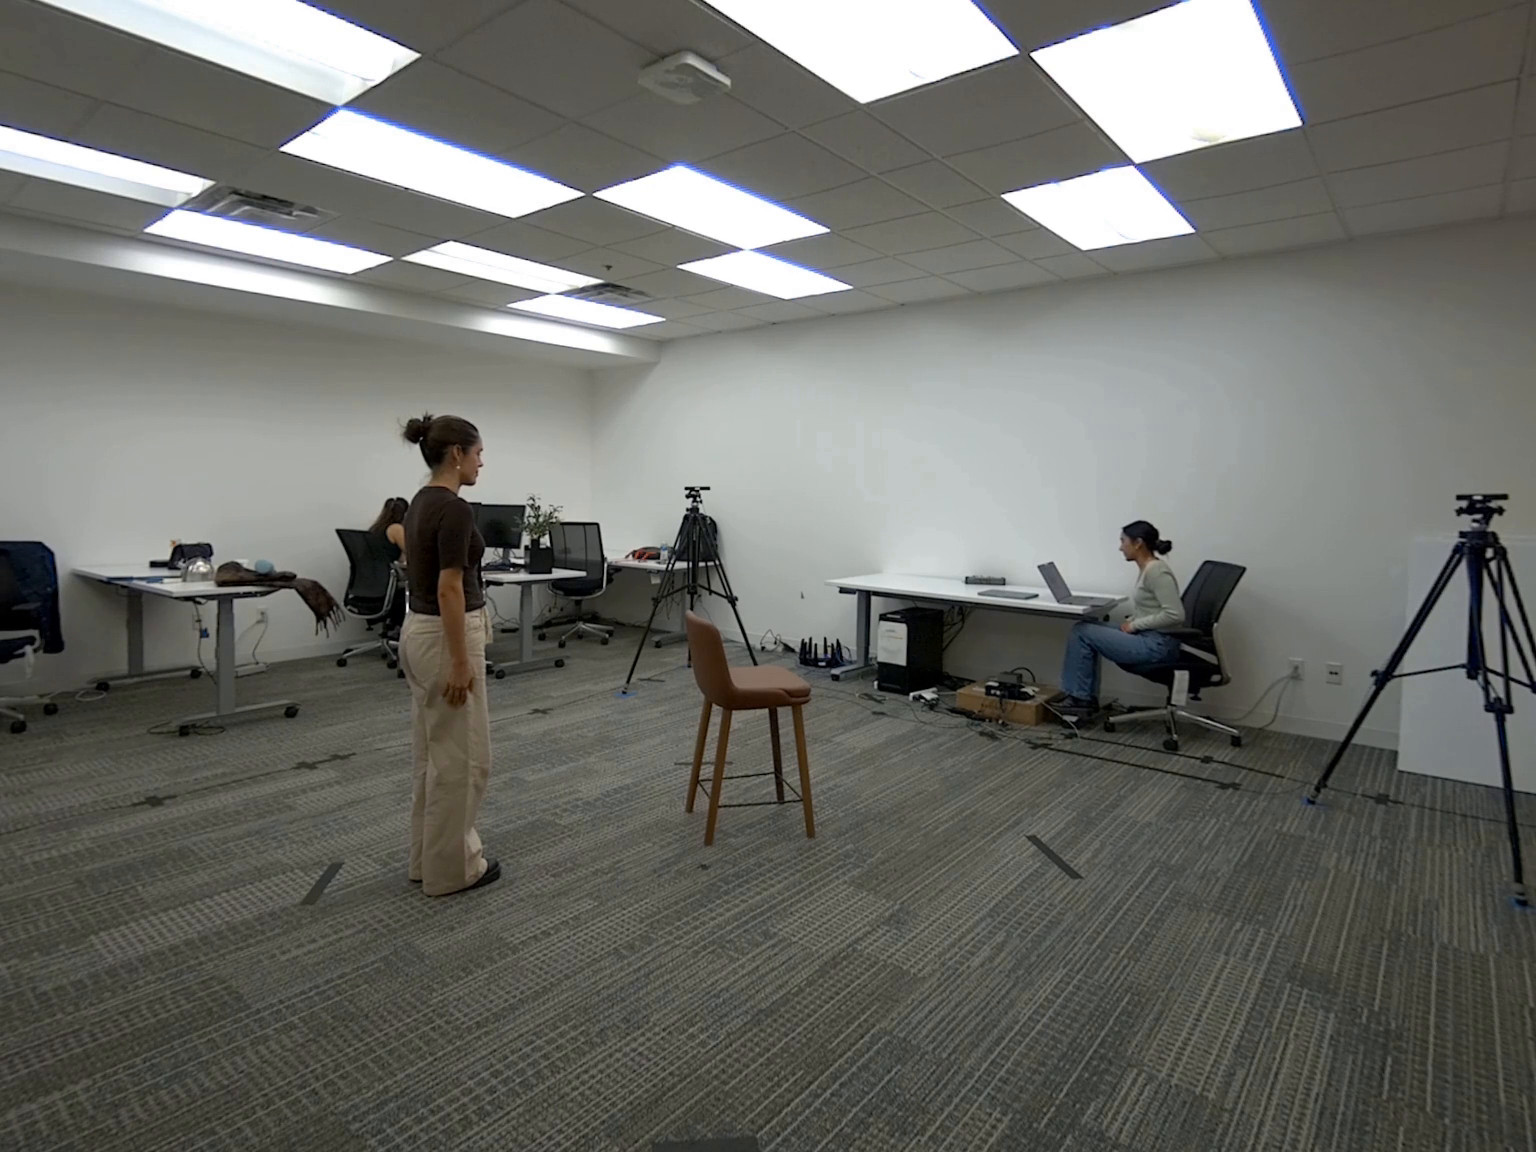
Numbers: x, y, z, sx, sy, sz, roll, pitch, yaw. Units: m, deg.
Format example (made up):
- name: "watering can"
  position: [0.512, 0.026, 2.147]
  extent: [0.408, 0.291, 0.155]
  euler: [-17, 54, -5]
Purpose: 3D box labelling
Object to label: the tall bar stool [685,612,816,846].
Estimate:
- name: "tall bar stool"
  position: [-0.094, 0.591, 3.513]
  extent: [0.460, 0.887, 0.465]
  euler: [-2, 3, -16]
